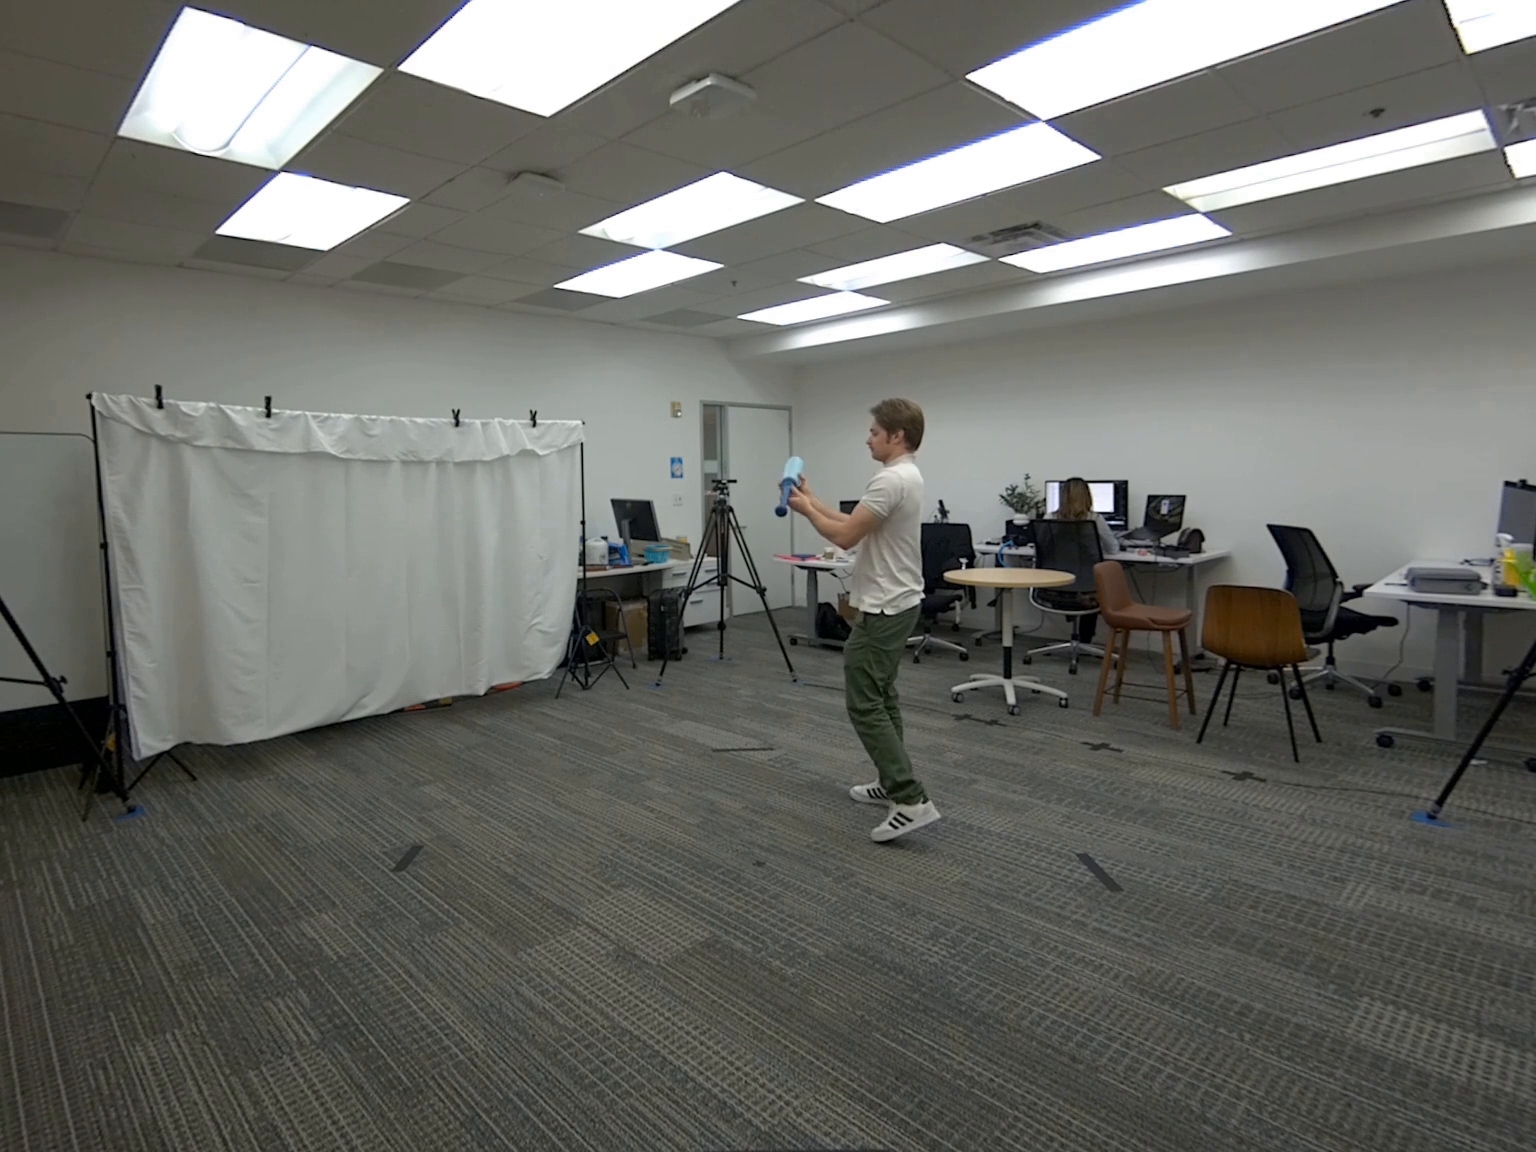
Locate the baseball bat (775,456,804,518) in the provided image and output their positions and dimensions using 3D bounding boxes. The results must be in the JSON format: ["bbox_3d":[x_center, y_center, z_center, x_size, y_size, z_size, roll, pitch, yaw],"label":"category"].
[{"bbox_3d":[0.092,-0.380,3.631,0.090,0.087,0.550,-1,27,8],"label":"baseball bat"}]
